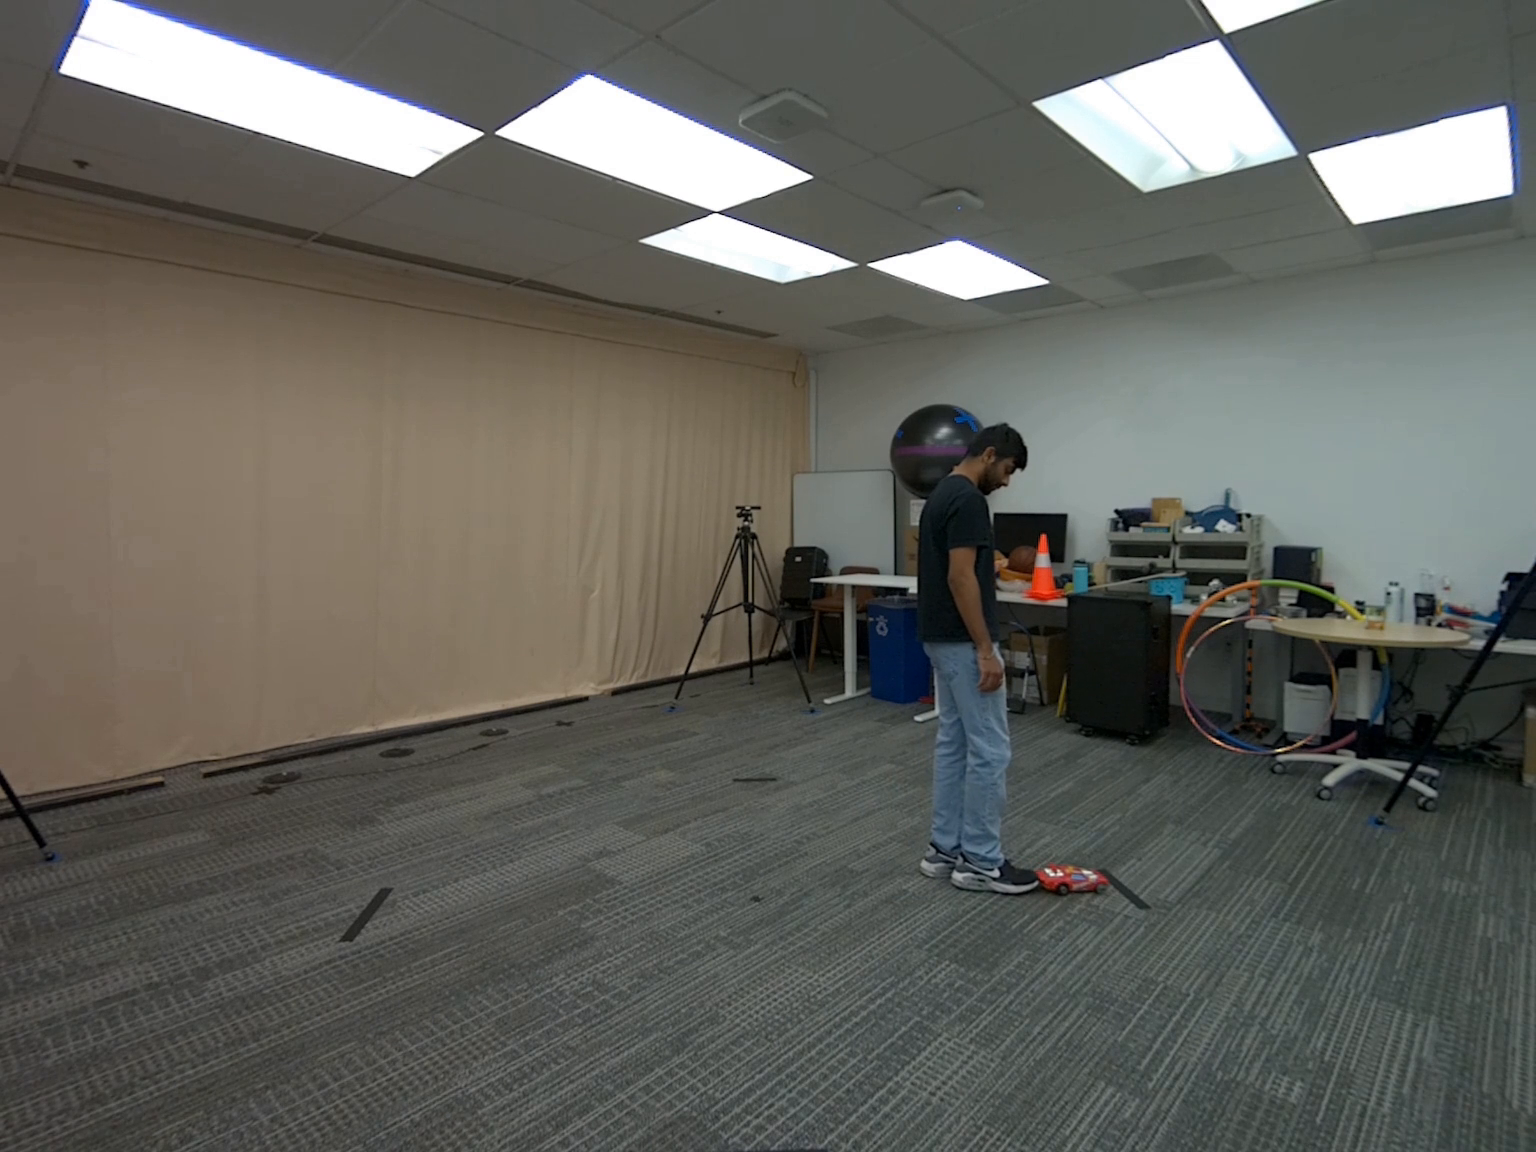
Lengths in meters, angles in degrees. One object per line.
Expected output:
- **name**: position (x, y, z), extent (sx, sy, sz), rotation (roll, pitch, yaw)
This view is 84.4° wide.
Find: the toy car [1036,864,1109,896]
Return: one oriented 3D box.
- **toy car**: position (1.097, 1.108, 3.049), extent (0.253, 0.083, 0.131), rotation (11, 3, -4)
